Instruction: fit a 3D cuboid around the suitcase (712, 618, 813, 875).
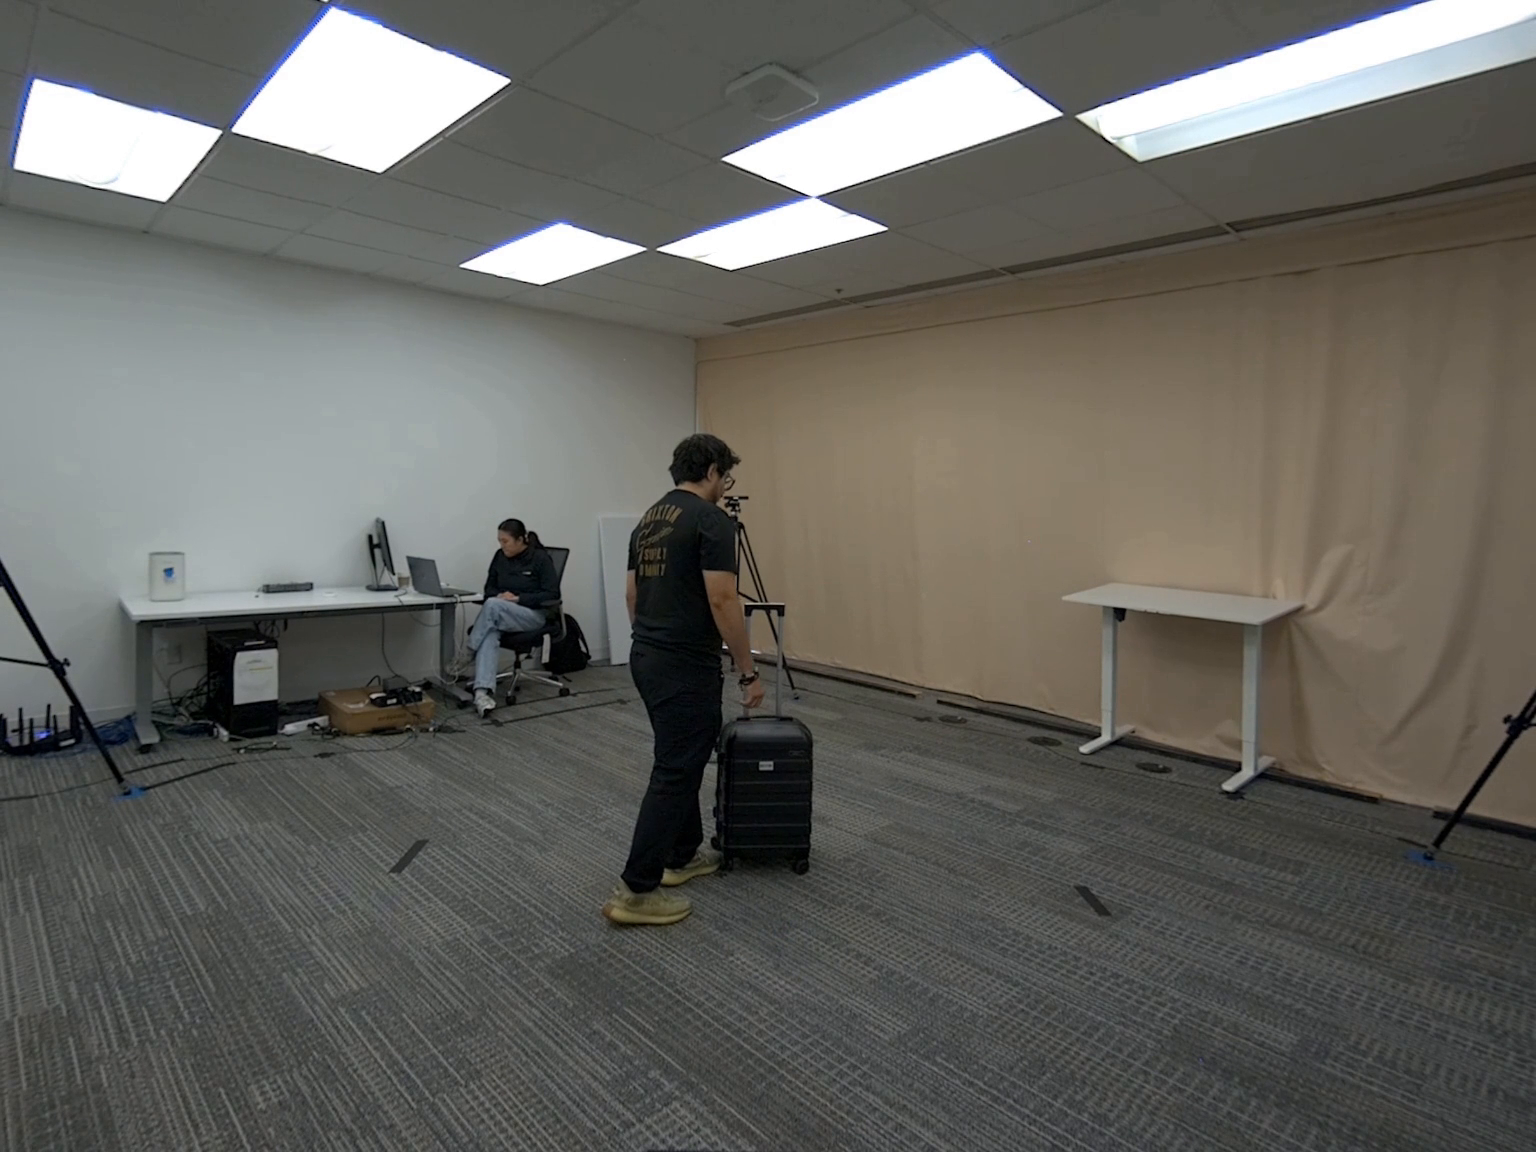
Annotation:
[{"bbox_3d":[-0.008,0.618,3.205,0.382,0.975,0.259,2,5,-5],"label":"suitcase"}]
